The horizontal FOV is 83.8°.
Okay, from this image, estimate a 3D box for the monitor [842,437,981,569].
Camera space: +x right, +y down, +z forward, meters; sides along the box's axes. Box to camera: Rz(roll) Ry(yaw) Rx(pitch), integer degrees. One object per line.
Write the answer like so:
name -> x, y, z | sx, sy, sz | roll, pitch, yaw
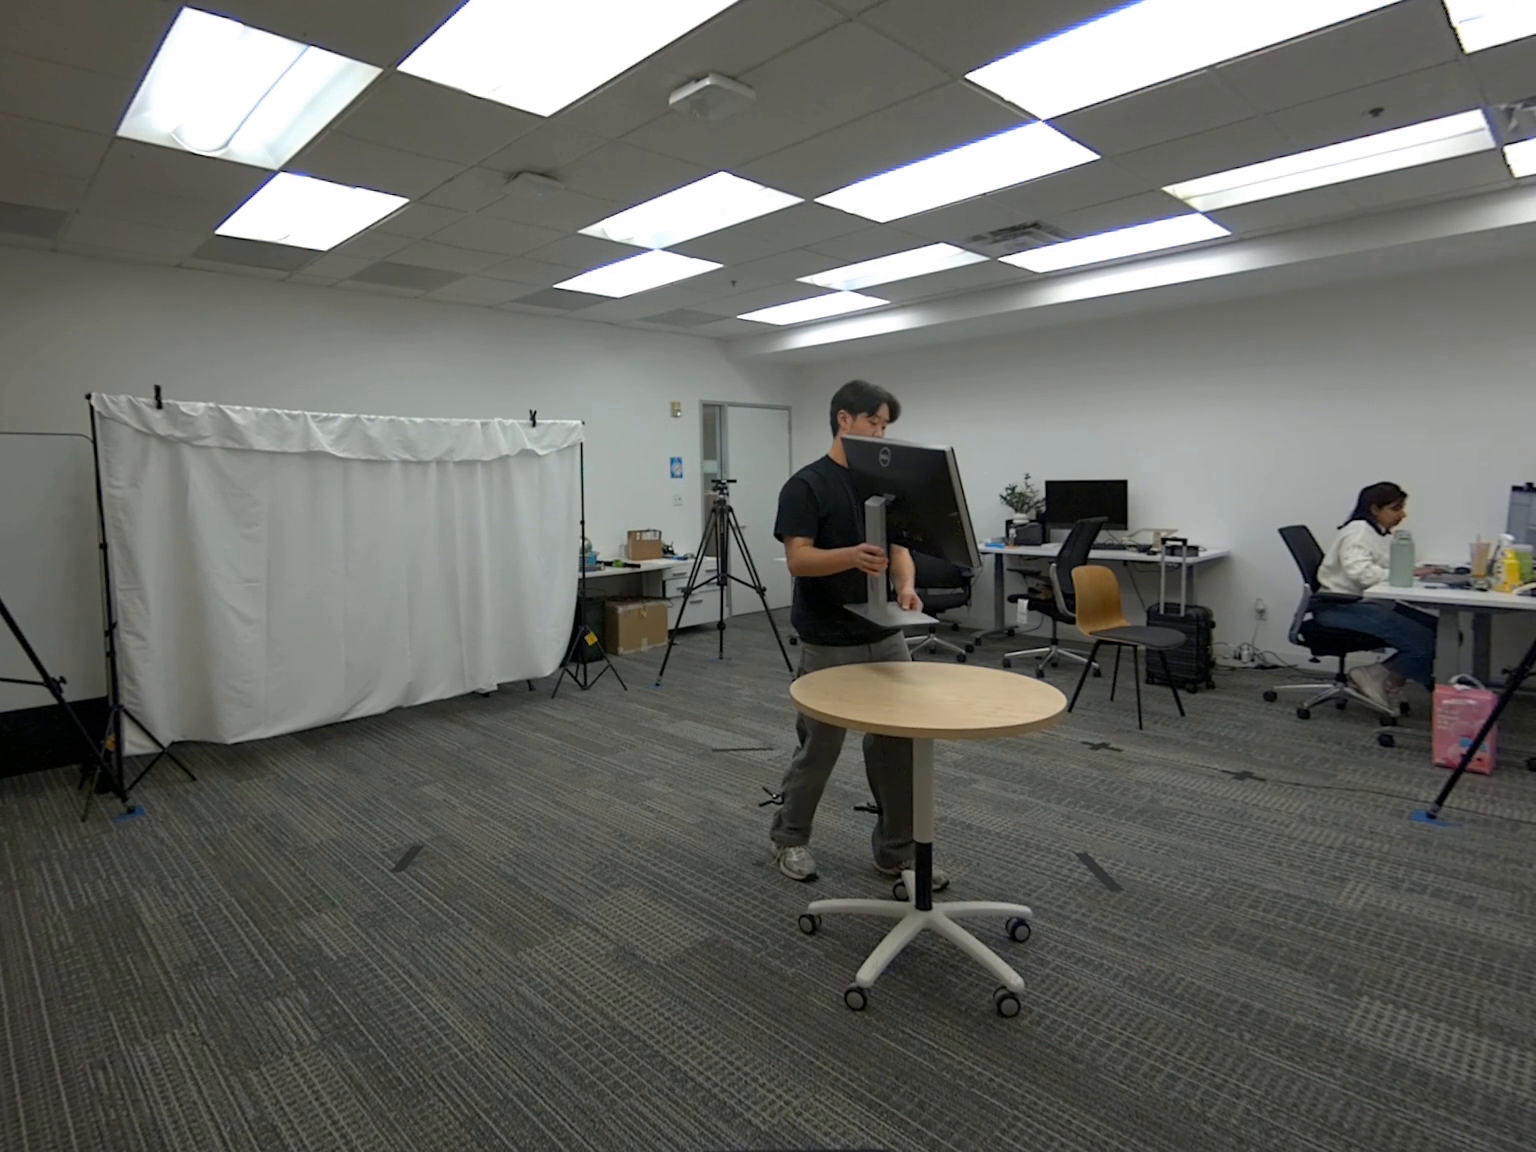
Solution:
monitor -> 0.392, -0.133, 2.600 | 0.218, 0.560, 0.578 | -5, 13, -22
